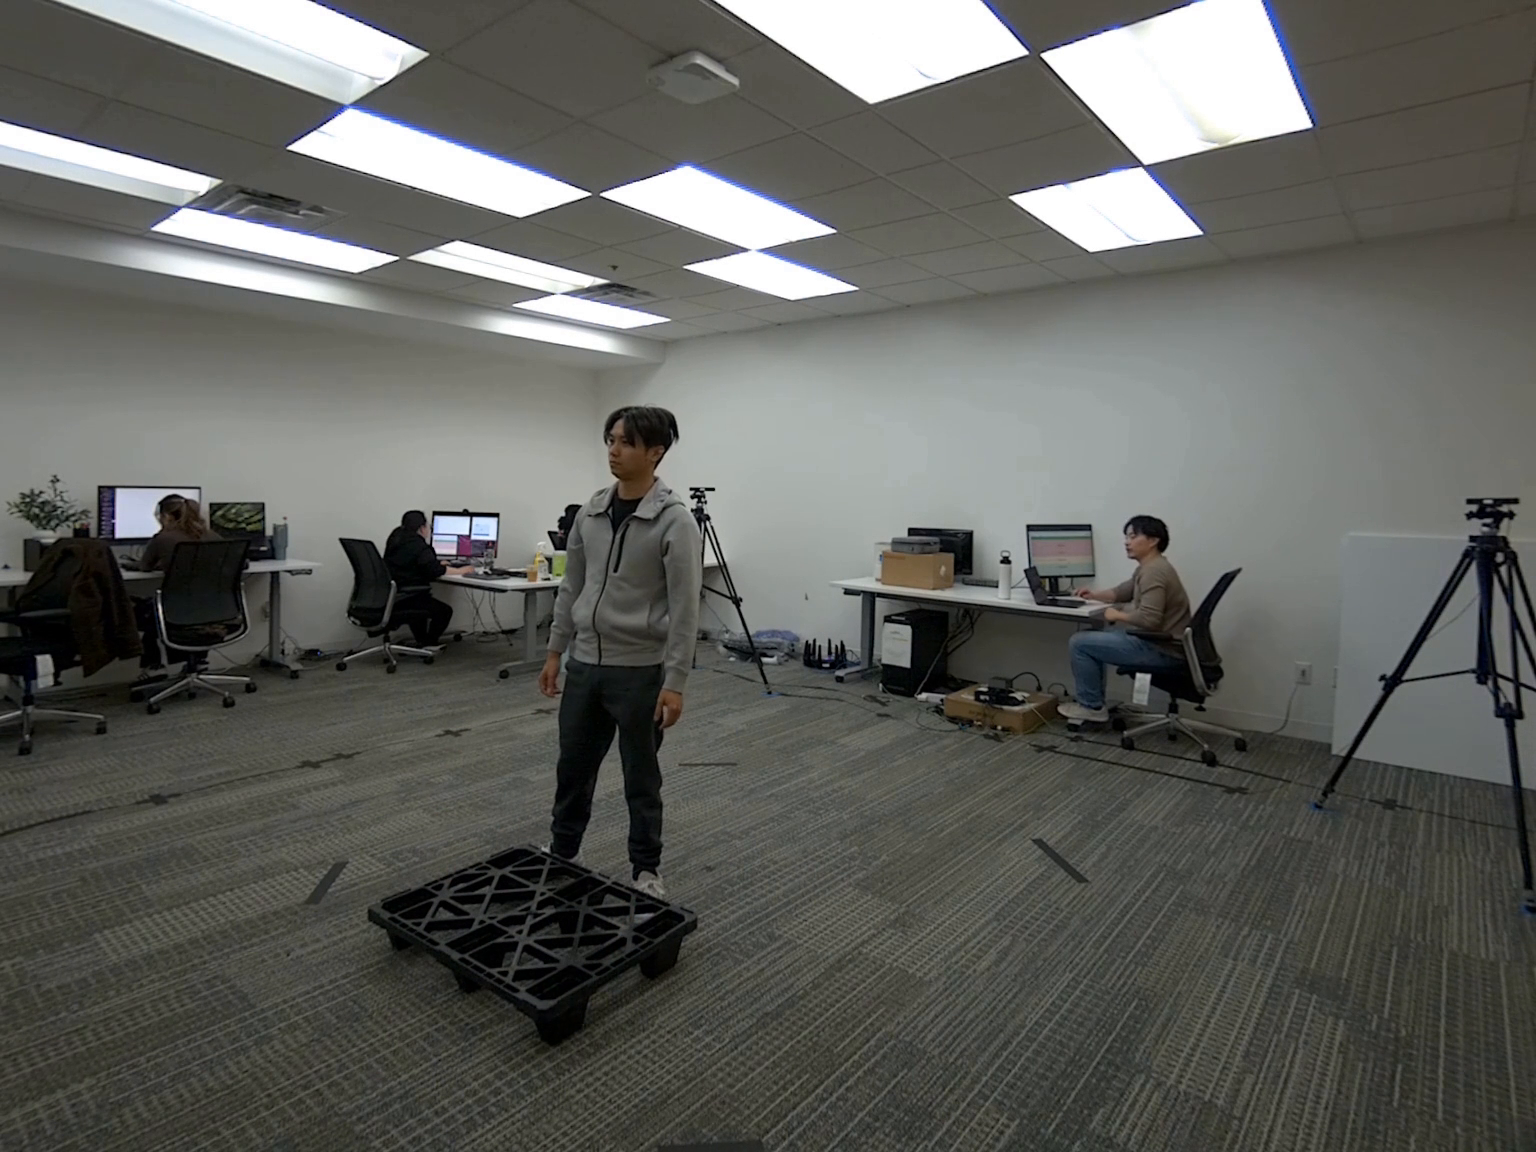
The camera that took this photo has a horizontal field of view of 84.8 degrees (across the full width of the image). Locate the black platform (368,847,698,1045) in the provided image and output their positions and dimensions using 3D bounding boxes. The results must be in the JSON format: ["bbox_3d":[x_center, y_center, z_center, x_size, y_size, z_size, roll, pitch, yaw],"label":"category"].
[{"bbox_3d":[-0.706,1.052,2.517,0.832,0.143,0.588,5,7,36],"label":"black platform"}]
